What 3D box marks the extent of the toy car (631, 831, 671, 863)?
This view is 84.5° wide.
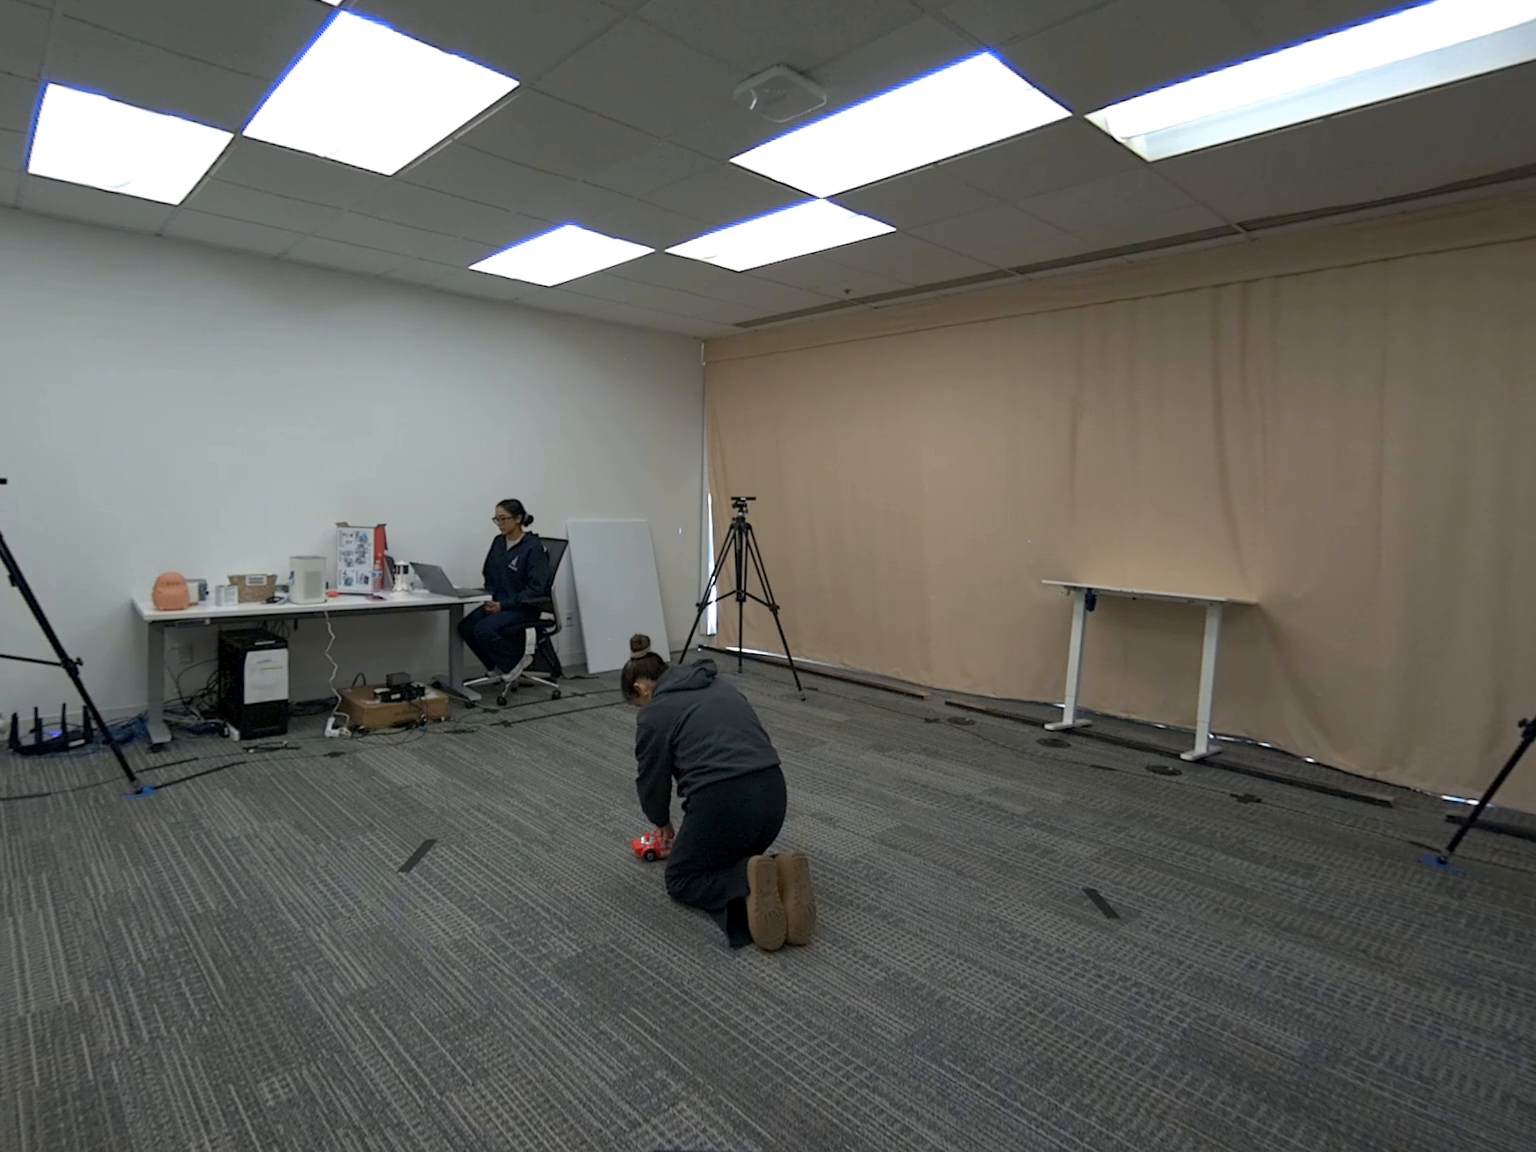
[{"bbox_3d":[-0.418,1.053,3.268,0.253,0.083,0.131,14,2,-7],"label":"toy car"}]
